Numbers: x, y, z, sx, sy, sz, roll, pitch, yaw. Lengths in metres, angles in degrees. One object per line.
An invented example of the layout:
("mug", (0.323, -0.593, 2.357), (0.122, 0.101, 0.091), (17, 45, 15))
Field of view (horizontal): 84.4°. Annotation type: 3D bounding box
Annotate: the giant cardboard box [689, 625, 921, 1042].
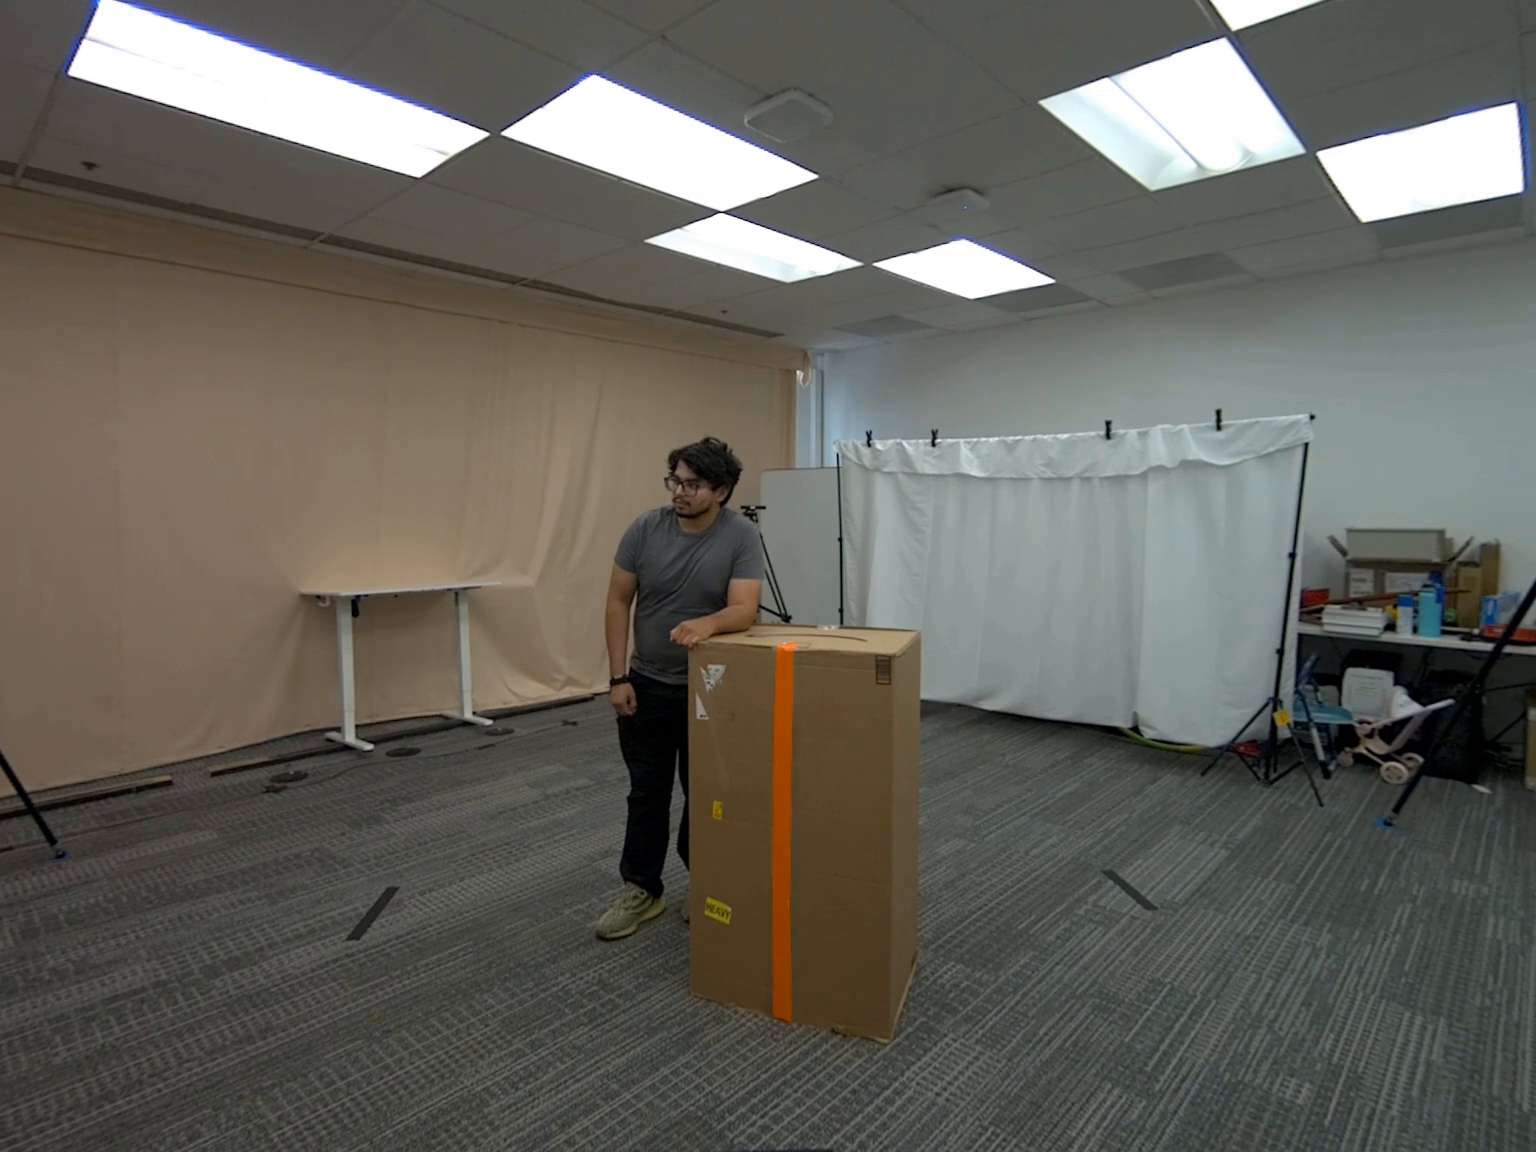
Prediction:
("giant cardboard box", (0.123, 0.681, 2.447), (0.591, 1.024, 0.417), (1, 3, 23))
